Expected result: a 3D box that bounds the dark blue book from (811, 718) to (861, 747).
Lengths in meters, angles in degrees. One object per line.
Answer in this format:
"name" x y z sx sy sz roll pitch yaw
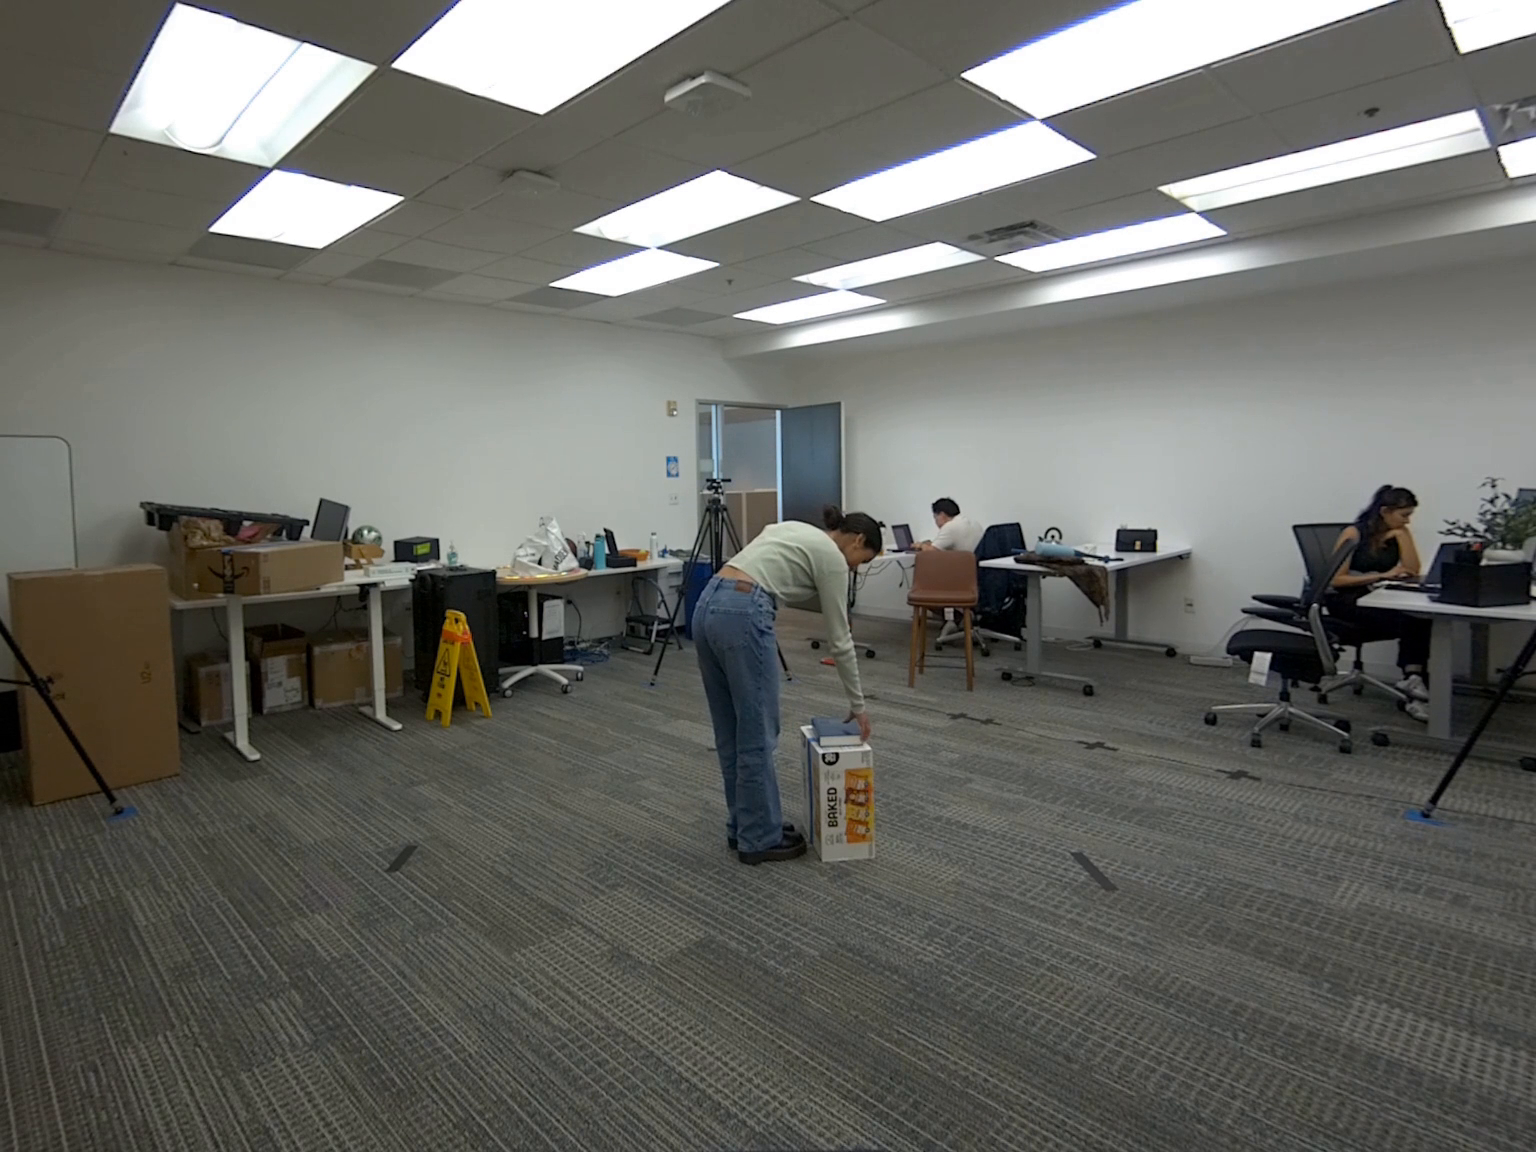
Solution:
"dark blue book" 0.255 0.598 3.269 0.164 0.045 0.246 1 6 1
